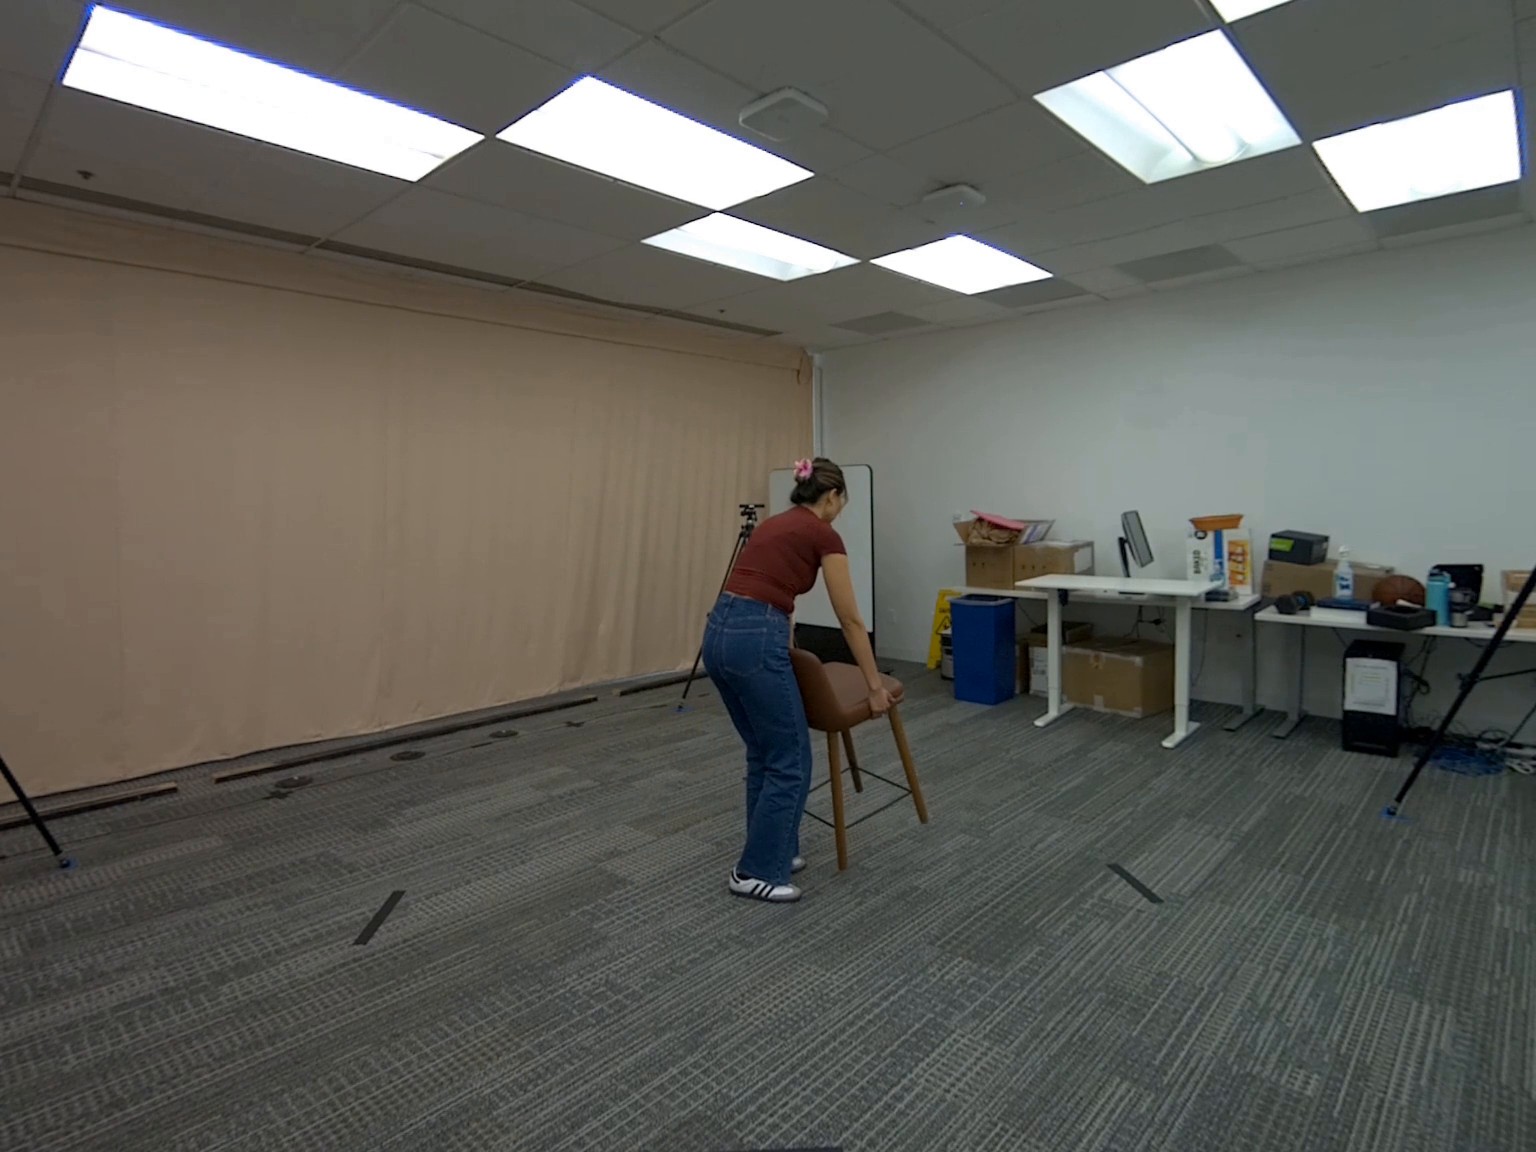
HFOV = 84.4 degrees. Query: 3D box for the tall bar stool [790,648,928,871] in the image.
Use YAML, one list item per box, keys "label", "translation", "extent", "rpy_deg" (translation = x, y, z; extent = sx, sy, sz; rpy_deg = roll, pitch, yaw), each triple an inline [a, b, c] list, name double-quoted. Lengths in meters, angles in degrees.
- label: "tall bar stool"
  translation: [0.273, 0.603, 3.291]
  extent: [0.458, 0.880, 0.471]
  rpy_deg: [-20, 16, -32]
